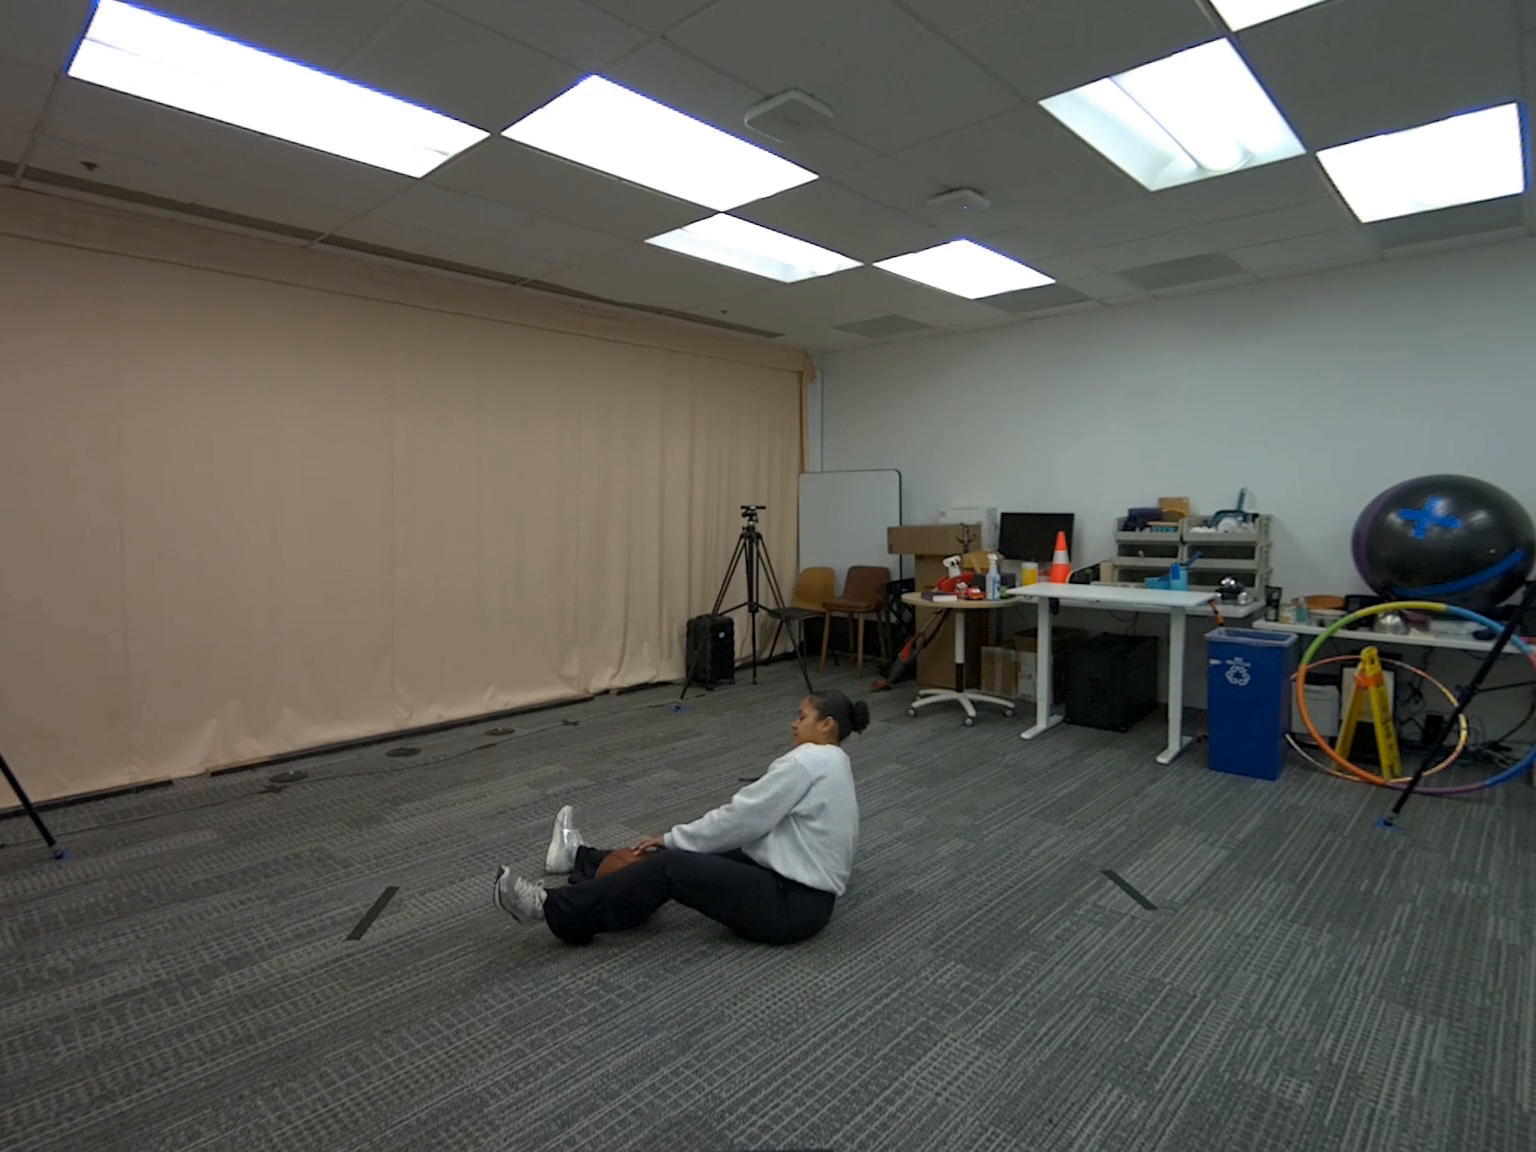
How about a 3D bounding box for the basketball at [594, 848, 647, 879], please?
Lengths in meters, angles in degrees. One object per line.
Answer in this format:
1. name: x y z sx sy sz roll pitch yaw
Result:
1. basketball: -0.462 1.046 2.833 0.236 0.235 0.237 0 4 -2
